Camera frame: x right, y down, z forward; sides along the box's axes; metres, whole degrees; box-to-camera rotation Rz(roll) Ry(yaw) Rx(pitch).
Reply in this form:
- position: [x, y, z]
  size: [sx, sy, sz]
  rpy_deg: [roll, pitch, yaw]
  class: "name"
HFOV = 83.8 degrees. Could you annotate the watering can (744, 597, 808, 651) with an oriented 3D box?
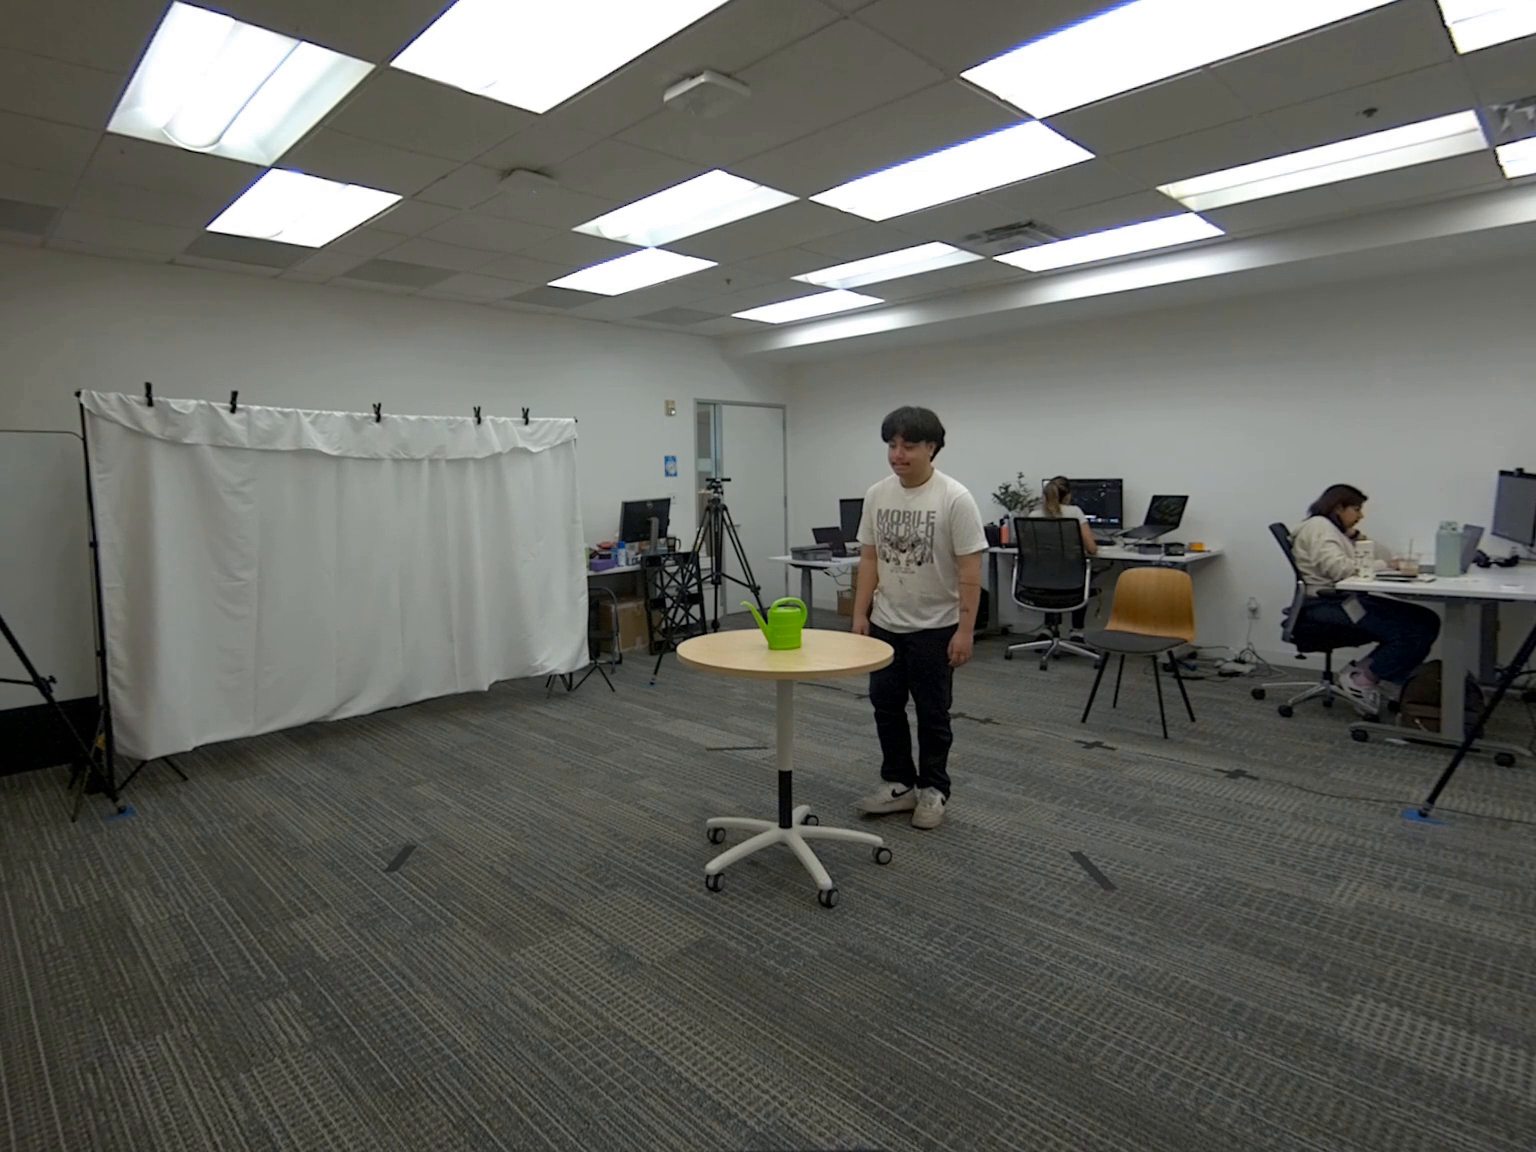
- position: [0.024, 0.167, 3.029]
  size: [0.273, 0.176, 0.100]
  rpy_deg: [-2, 2, -20]
  class: "watering can"
